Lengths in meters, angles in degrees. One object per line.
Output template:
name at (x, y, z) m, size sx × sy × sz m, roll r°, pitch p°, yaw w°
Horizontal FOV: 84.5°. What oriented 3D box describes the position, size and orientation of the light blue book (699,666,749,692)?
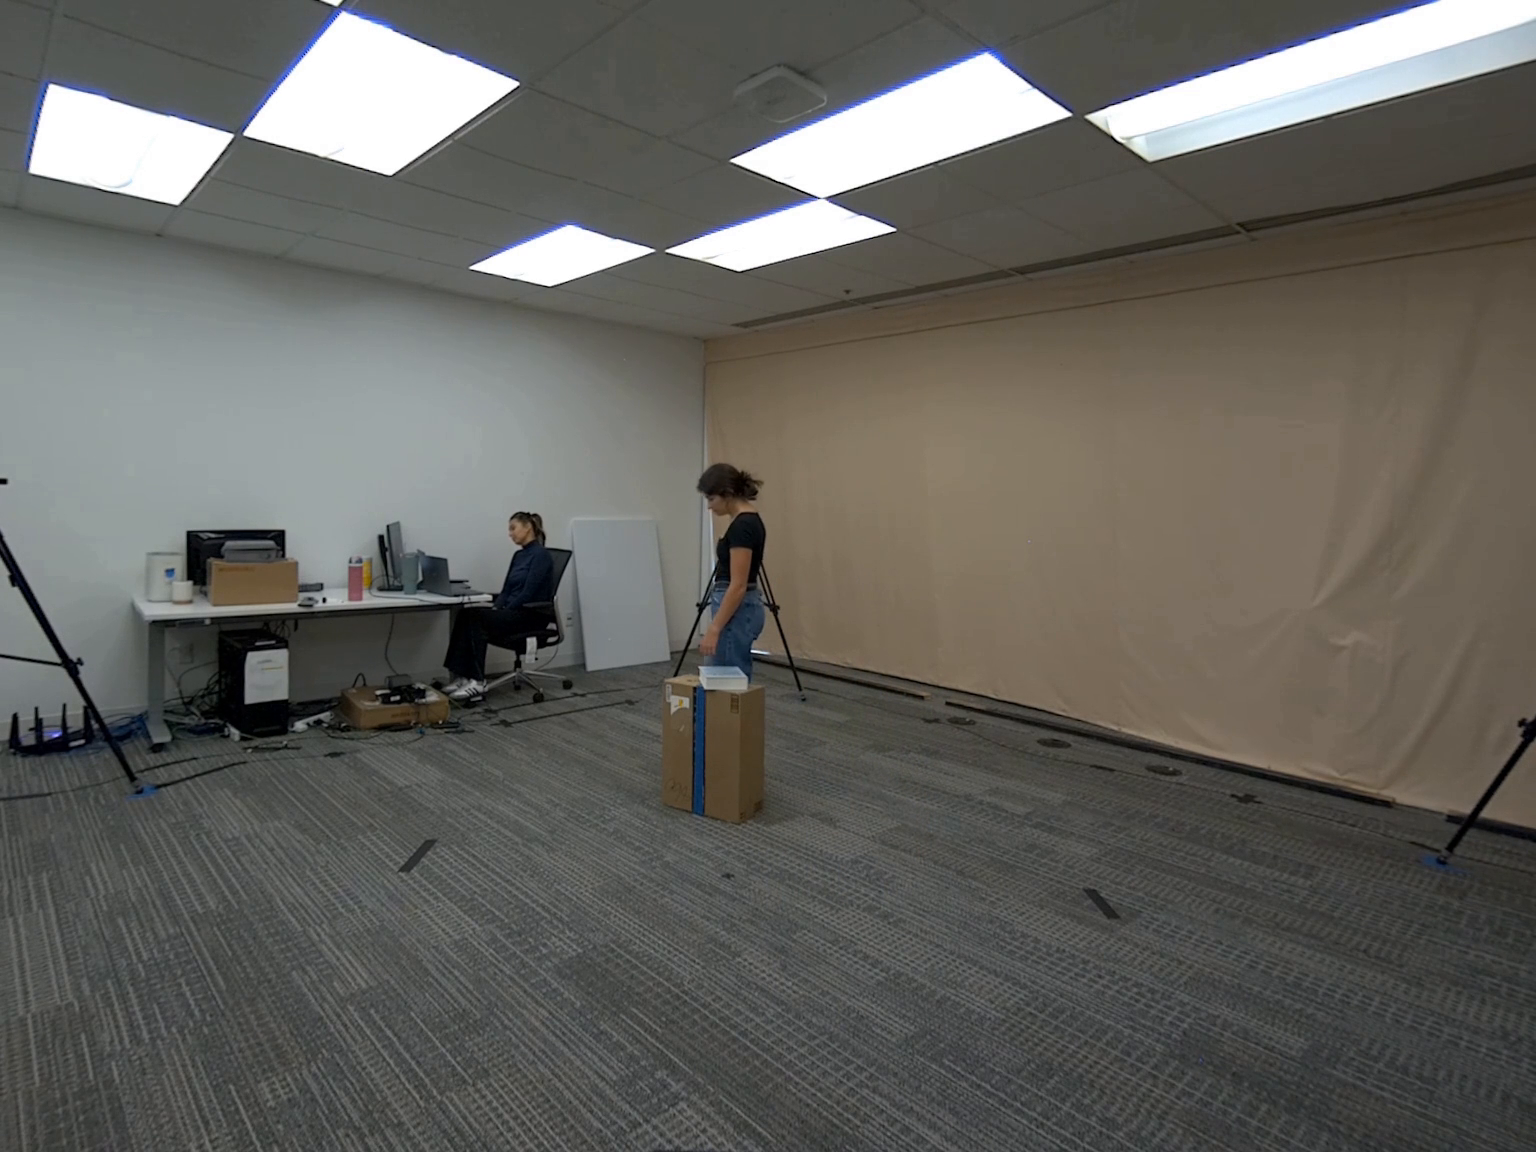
light blue book at (-0.219, 0.461, 3.781) m, size 0.190 × 0.059 × 0.264 m, roll 1°, pitch 4°, yaw -11°
